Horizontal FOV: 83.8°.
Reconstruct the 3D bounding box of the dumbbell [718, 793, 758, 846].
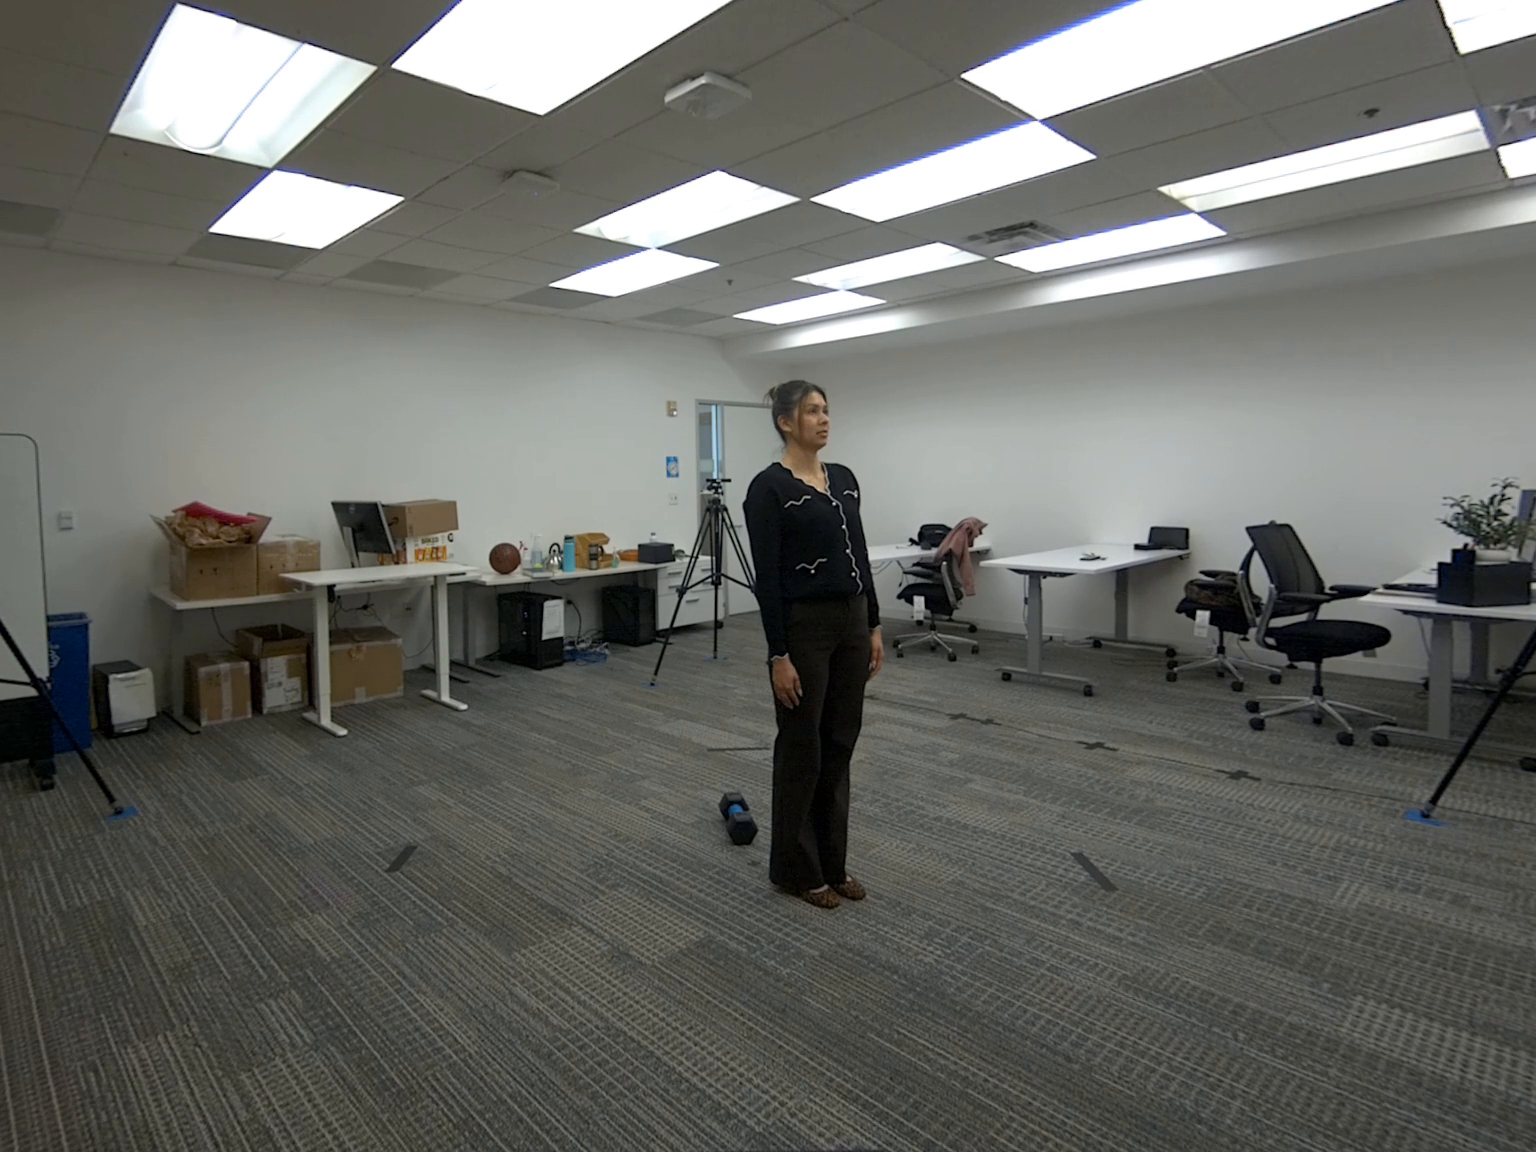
[{"bbox_3d":[-0.120,0.962,3.398,0.108,0.121,0.297,-31,10,-6],"label":"dumbbell"}]
